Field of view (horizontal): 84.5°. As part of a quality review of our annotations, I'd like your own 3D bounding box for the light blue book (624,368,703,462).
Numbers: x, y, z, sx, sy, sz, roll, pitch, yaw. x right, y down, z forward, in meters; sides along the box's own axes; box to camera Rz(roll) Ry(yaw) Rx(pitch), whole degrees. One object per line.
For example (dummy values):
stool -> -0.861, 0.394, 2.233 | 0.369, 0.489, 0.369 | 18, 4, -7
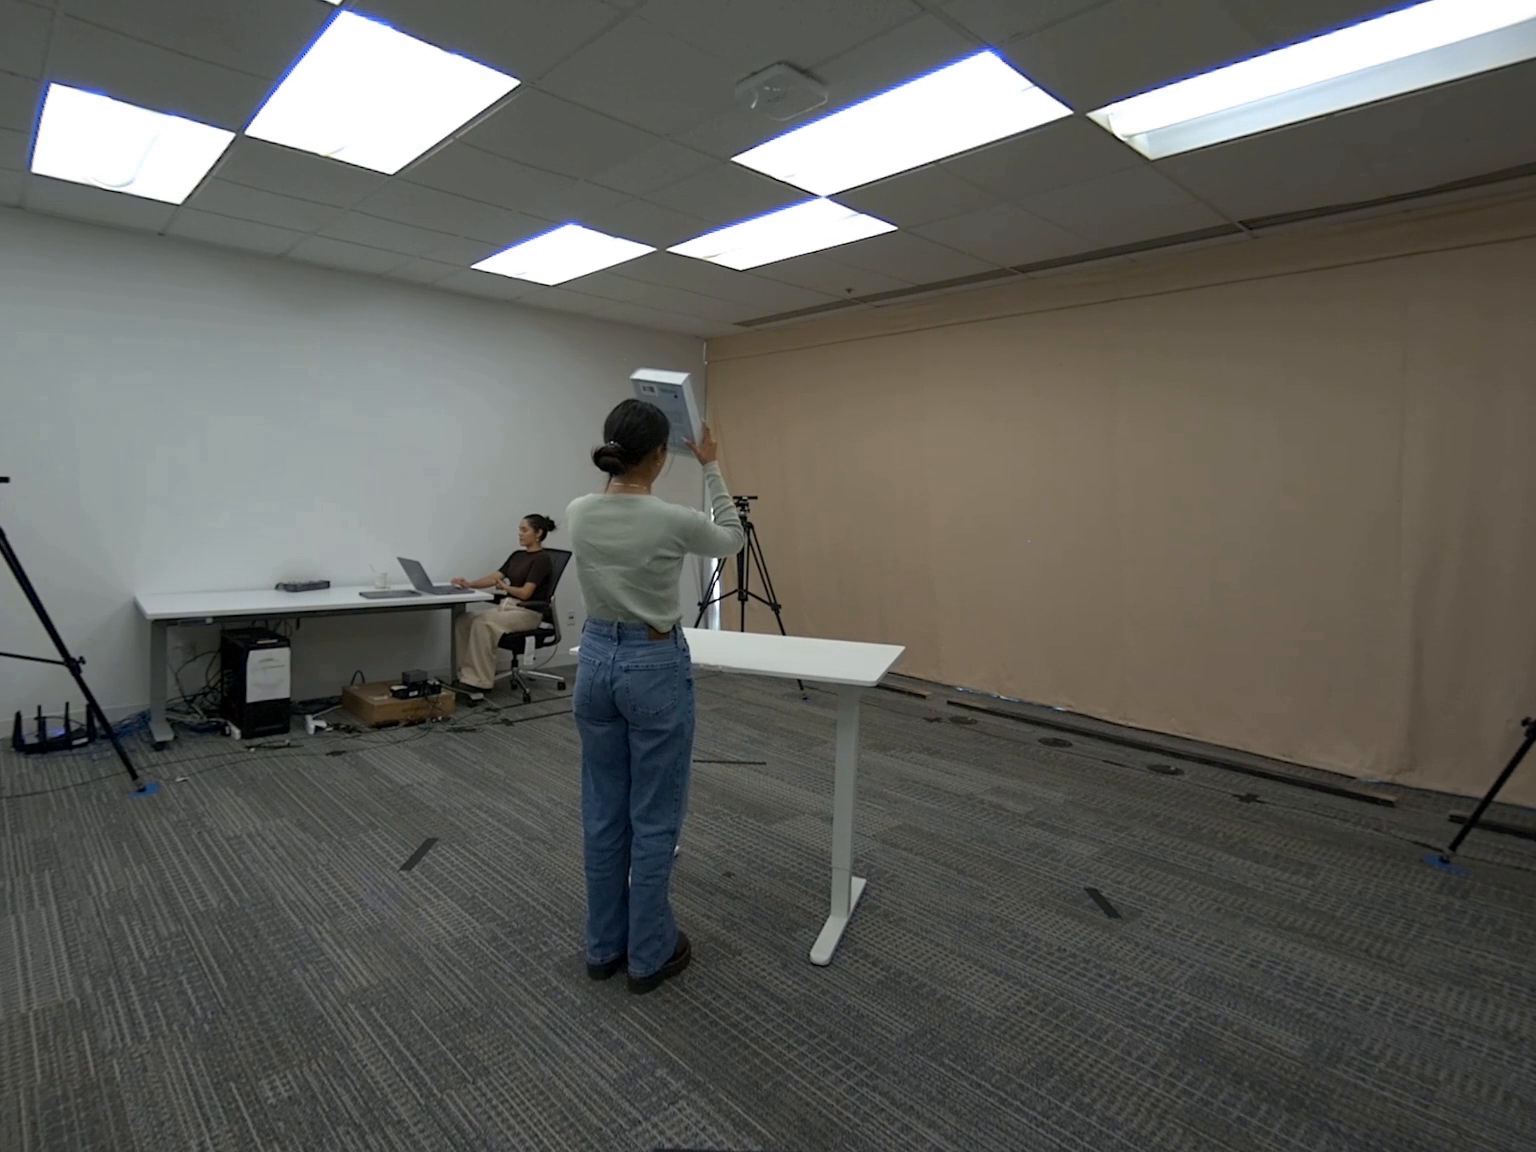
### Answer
light blue book -> -0.302, -0.480, 2.522 | 0.196, 0.254, 0.059 | 14, 47, 27
